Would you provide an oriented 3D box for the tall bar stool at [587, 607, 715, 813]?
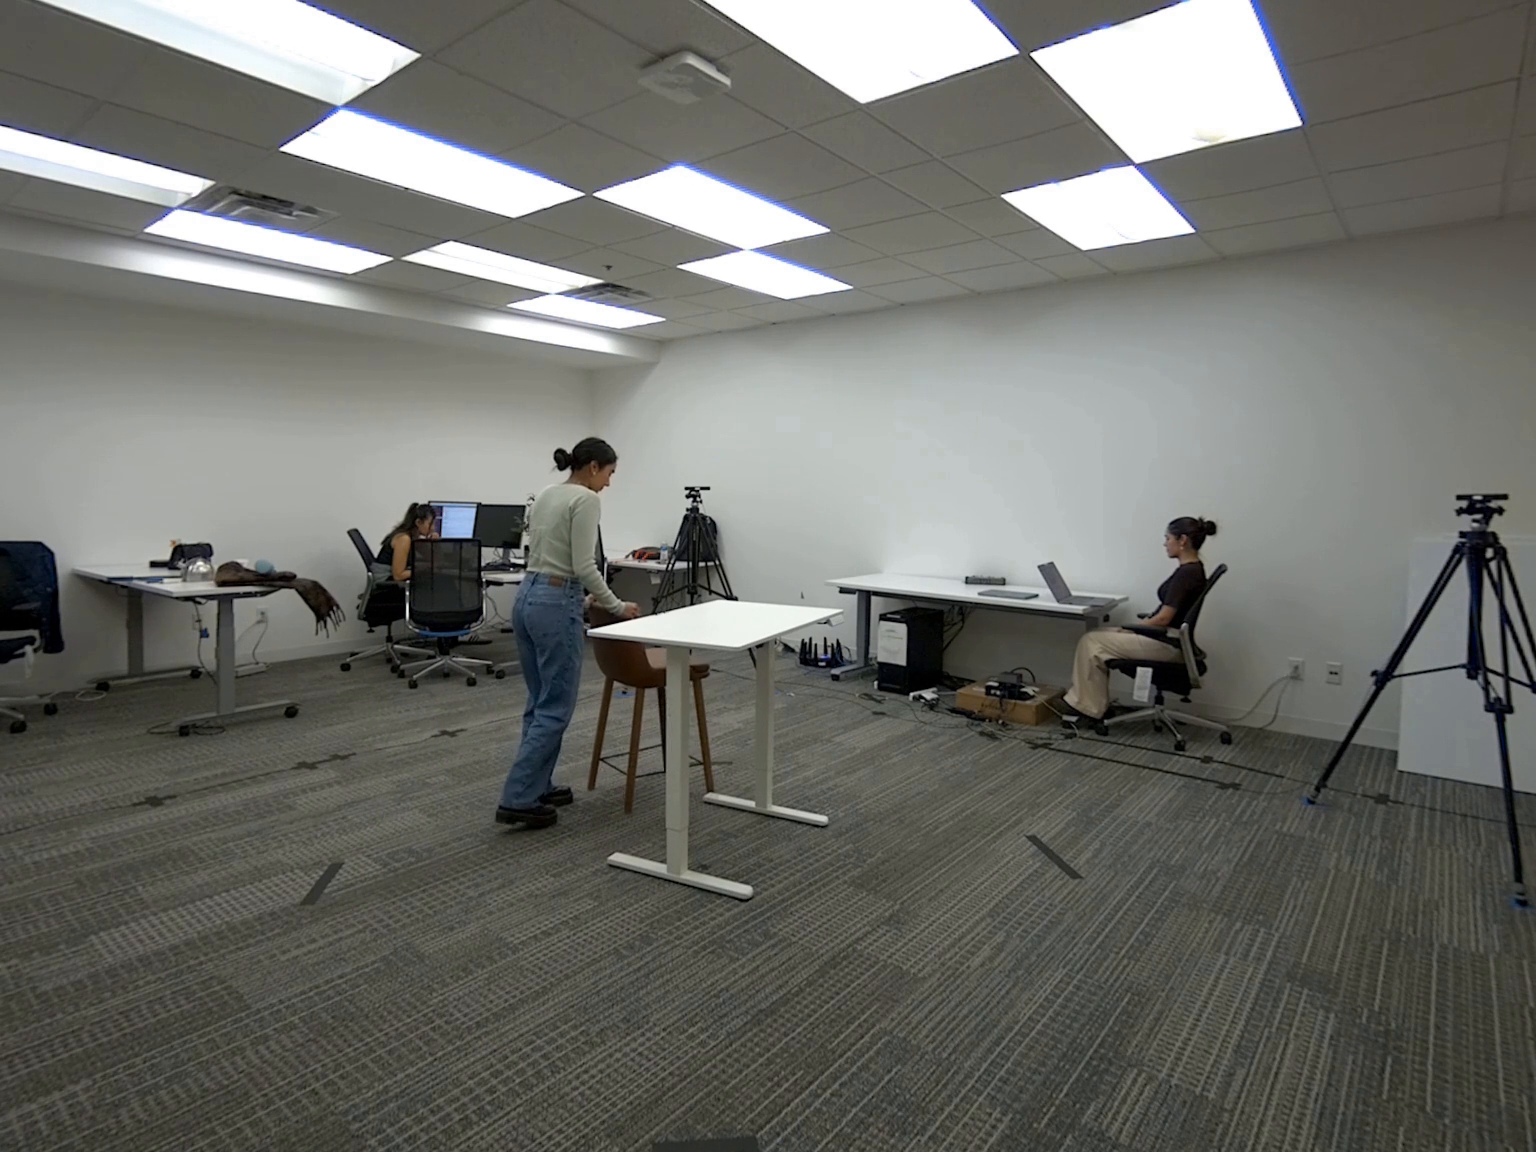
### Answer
[{"bbox_3d":[-0.559,0.552,3.879,0.454,0.886,0.471,-4,5,-37],"label":"tall bar stool"}]
